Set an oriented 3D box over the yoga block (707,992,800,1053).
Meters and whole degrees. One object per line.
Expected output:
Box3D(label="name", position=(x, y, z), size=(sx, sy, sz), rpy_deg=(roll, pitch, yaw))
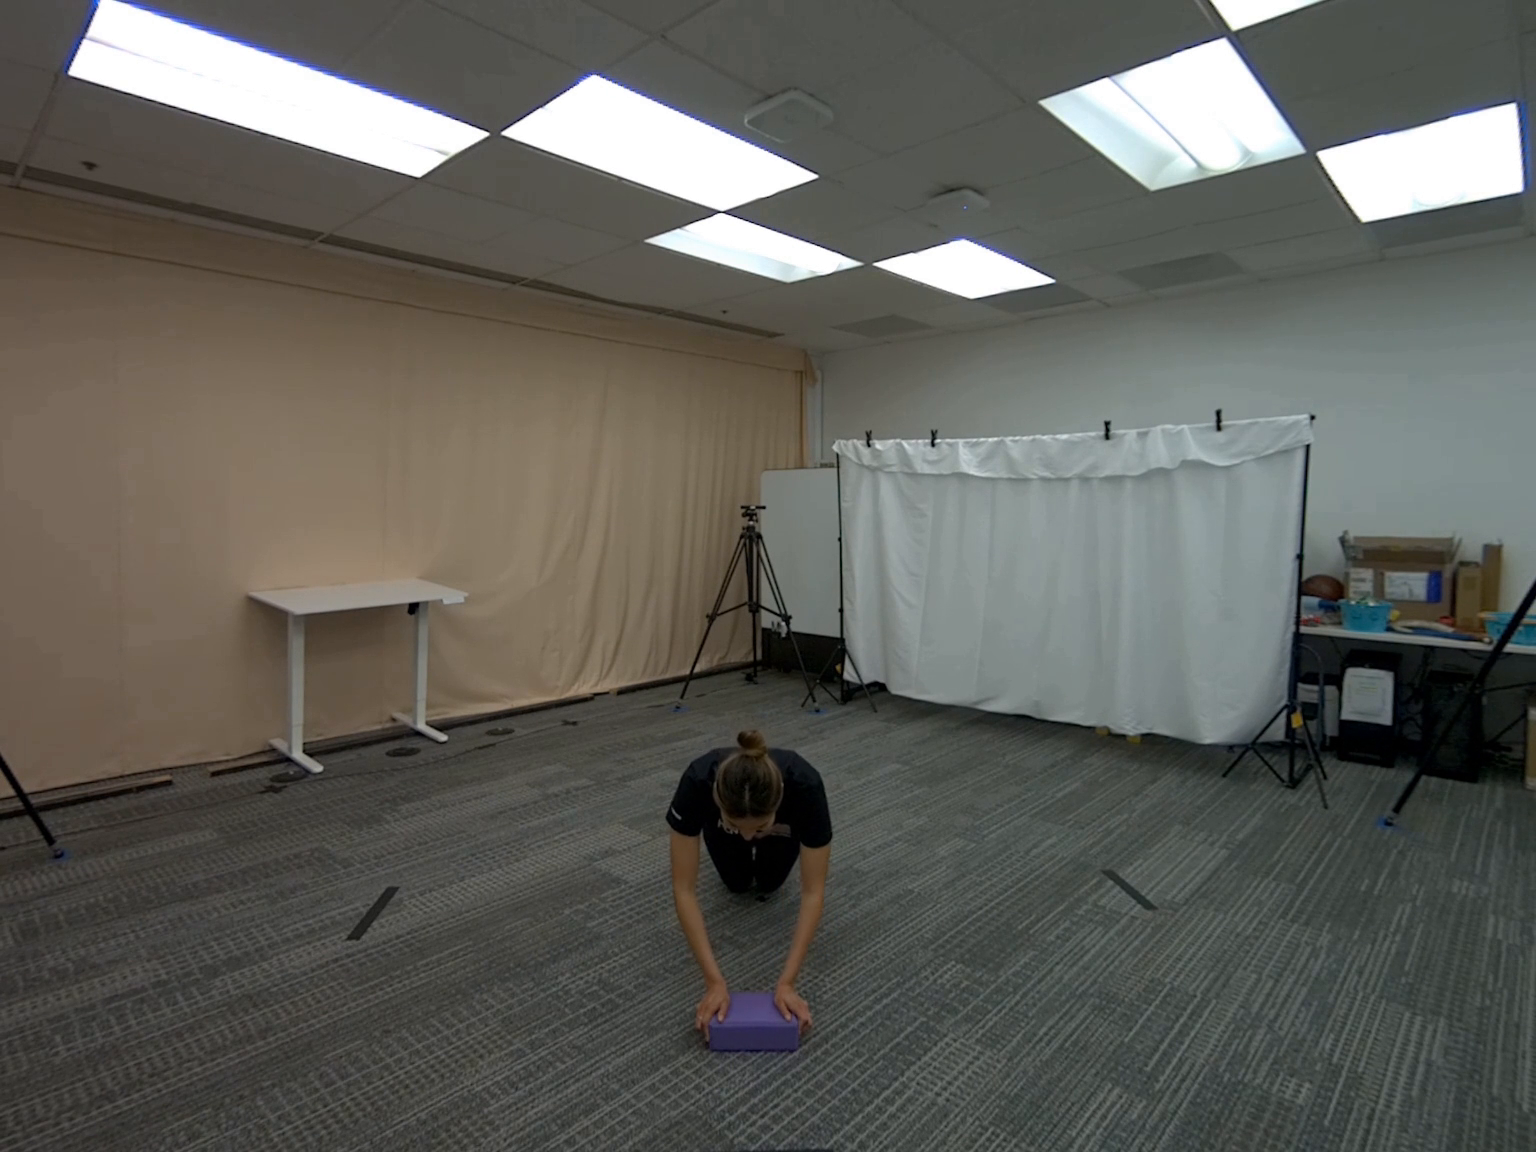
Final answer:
Box3D(label="yoga block", position=(-0.043, 1.164, 2.219), size=(0.229, 0.076, 0.149), rpy_deg=(-2, 5, -1))
